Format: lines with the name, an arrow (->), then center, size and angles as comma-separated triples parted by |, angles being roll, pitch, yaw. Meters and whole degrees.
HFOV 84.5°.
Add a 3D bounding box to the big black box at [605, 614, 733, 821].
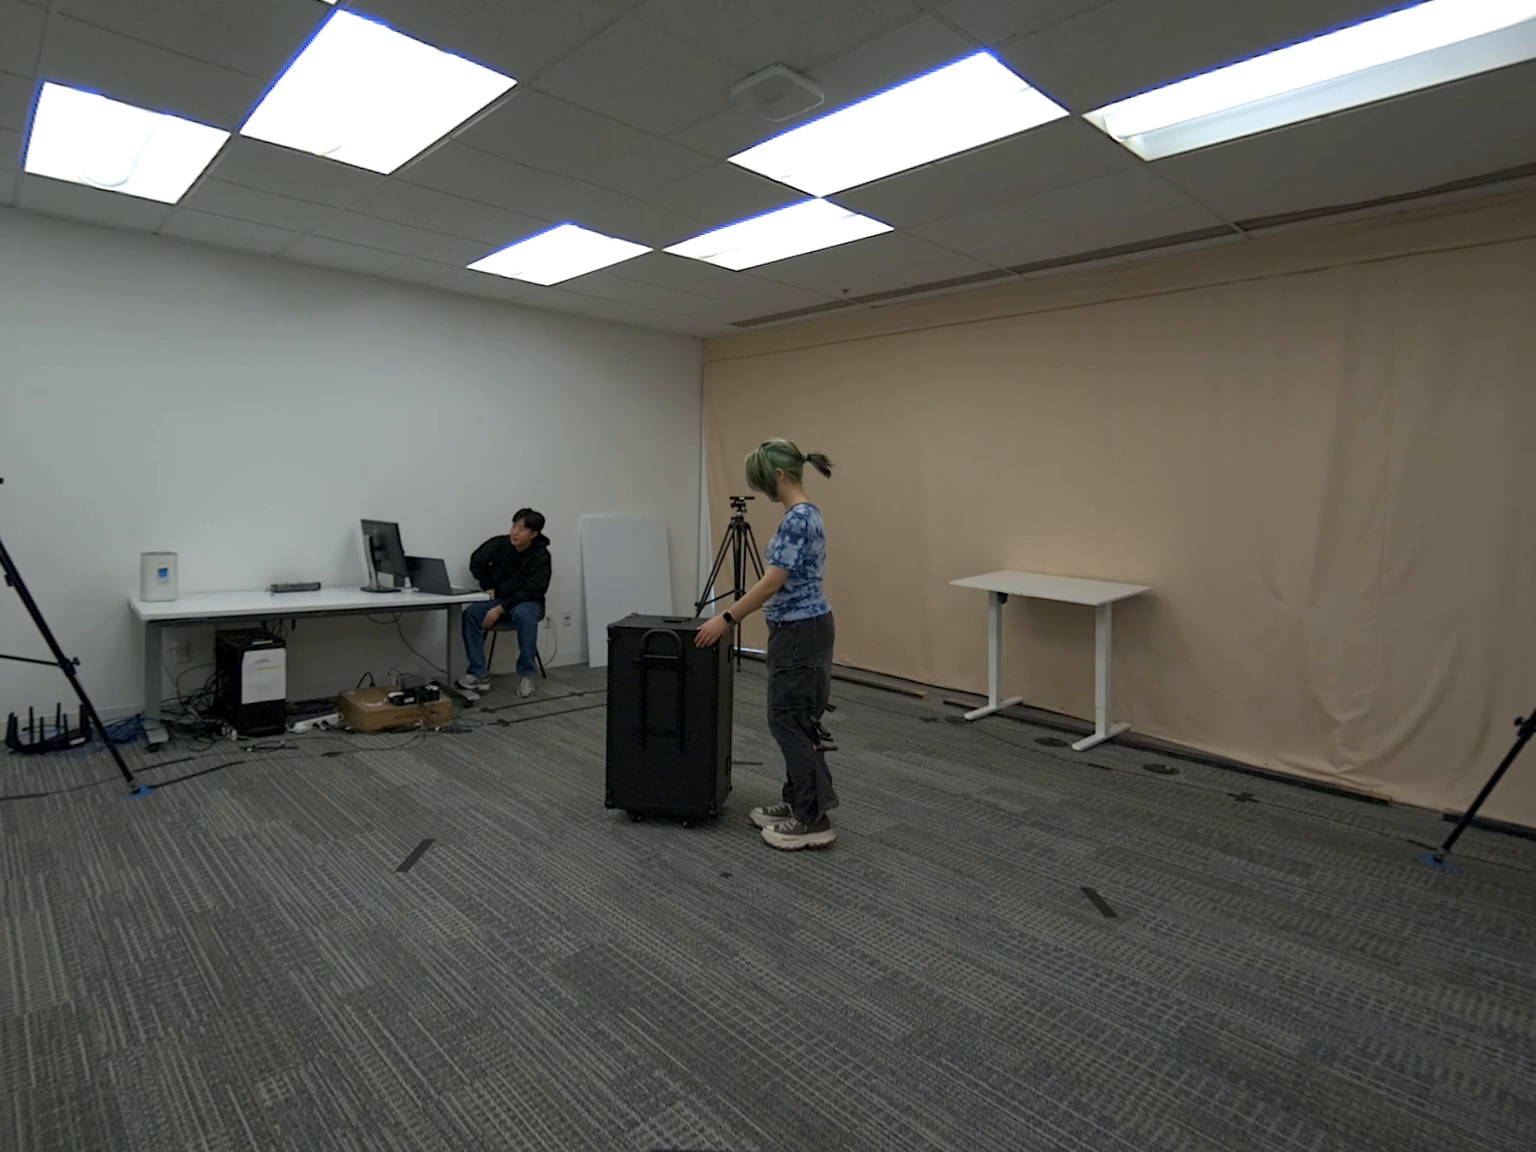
big black box -> -0.423, 0.623, 3.660 | 0.526, 0.859, 0.394 | 2, 4, 10
